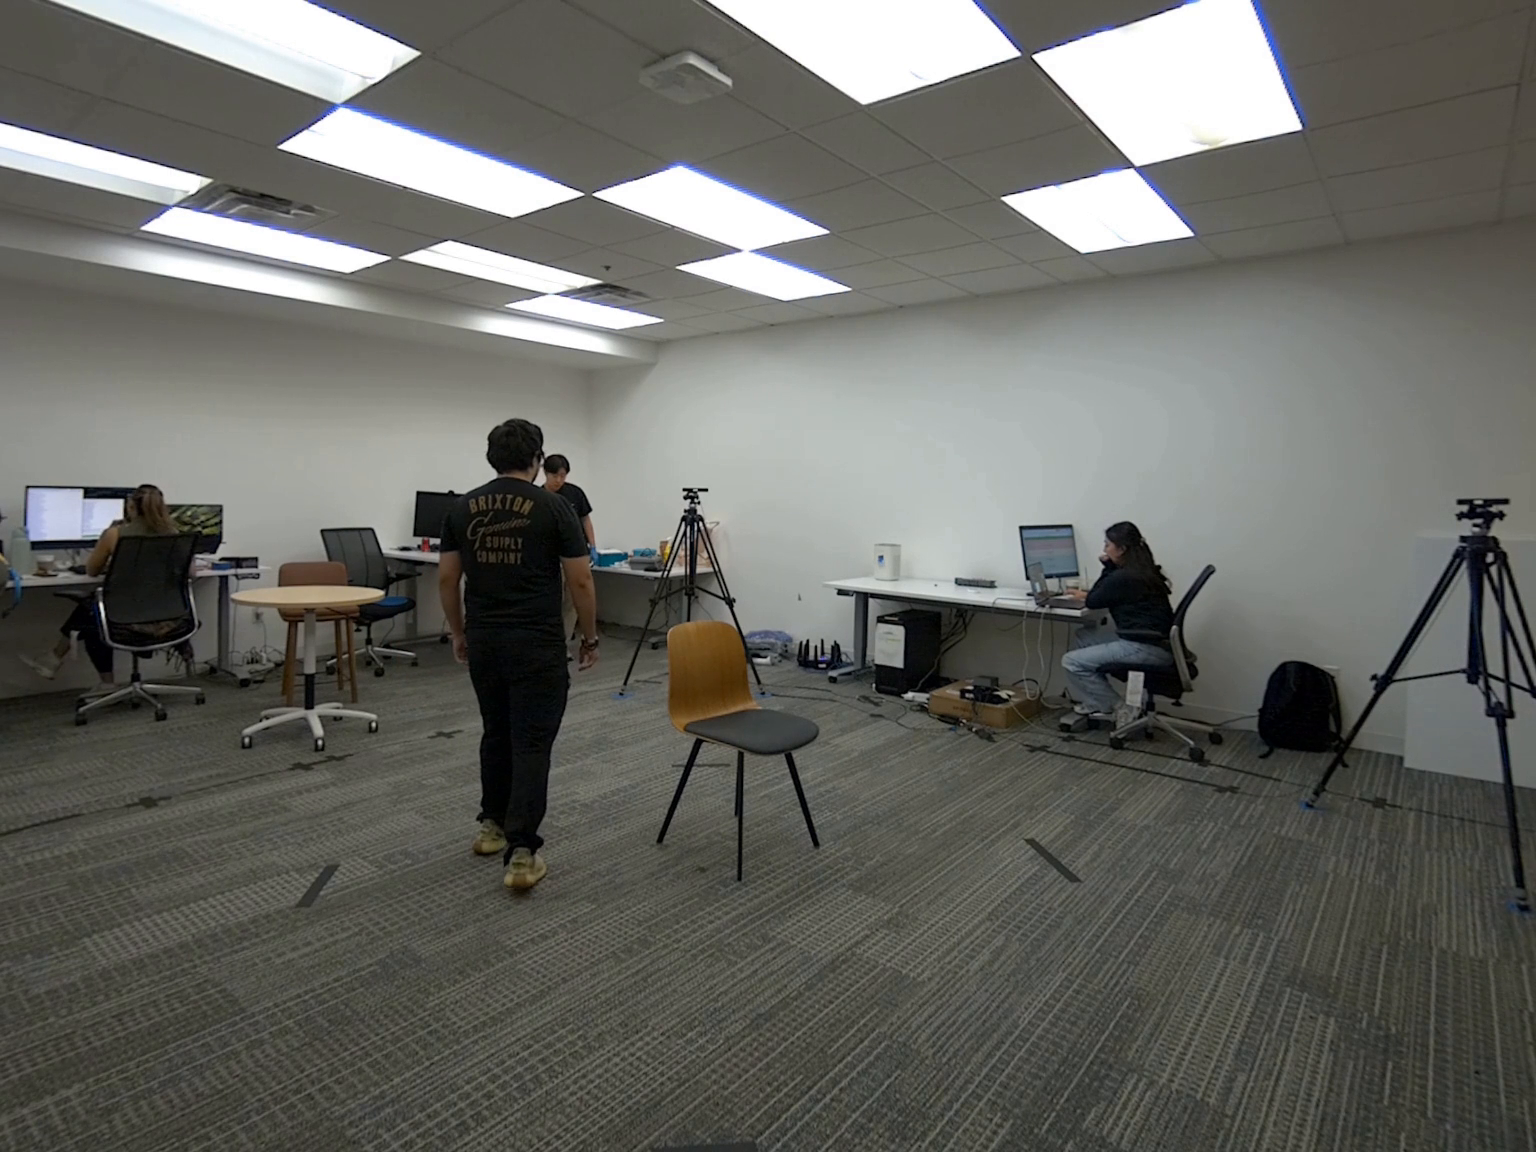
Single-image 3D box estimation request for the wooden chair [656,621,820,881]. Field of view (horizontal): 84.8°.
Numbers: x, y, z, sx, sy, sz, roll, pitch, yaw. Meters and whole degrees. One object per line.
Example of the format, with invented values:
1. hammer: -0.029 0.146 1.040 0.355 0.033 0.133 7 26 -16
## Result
1. wooden chair: -0.111 0.629 3.299 0.539 0.878 0.463 -2 0 44
